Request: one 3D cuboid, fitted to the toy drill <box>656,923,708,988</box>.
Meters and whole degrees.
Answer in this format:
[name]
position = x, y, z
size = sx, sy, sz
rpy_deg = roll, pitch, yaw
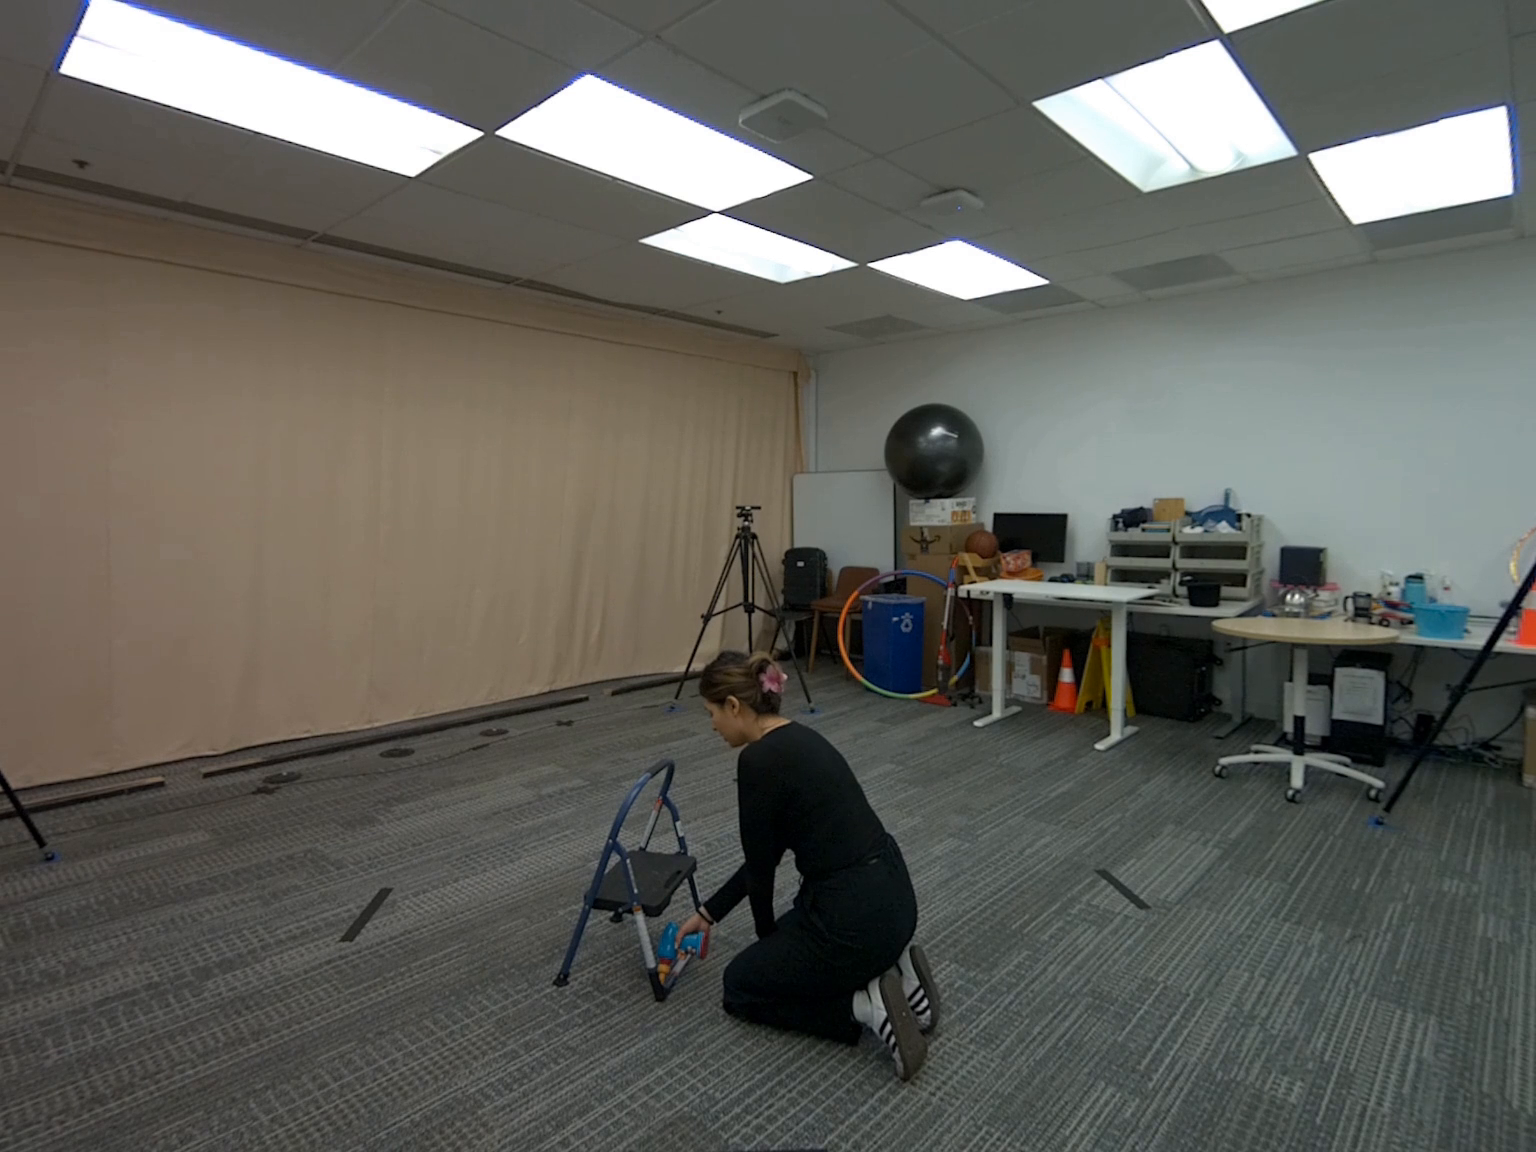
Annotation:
[toy drill]
position = -0.254, 1.096, 2.449
size = 0.146, 0.171, 0.060
rpy_deg = 8, -14, 1
